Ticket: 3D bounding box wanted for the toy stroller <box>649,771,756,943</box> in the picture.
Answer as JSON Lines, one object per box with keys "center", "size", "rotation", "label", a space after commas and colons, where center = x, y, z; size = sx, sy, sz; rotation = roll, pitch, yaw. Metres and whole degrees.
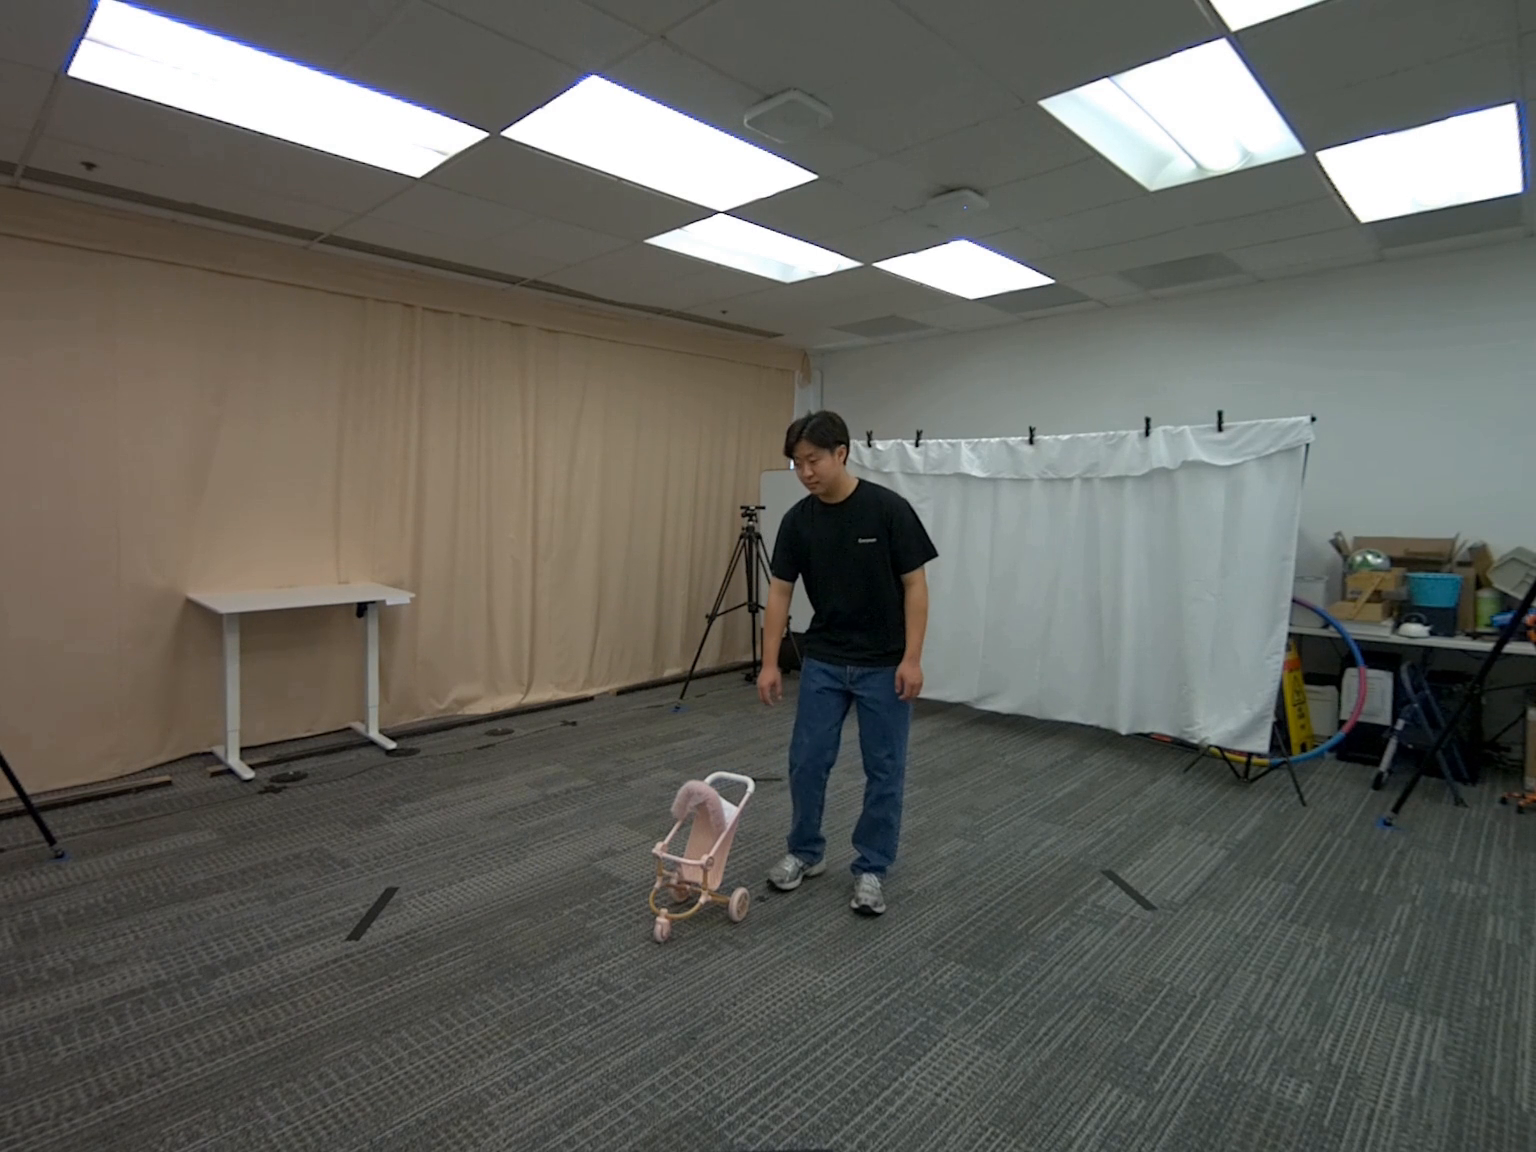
{"center": [-0.237, 0.932, 2.835], "size": [0.290, 0.537, 0.329], "rotation": [1, -12, 39], "label": "toy stroller"}
